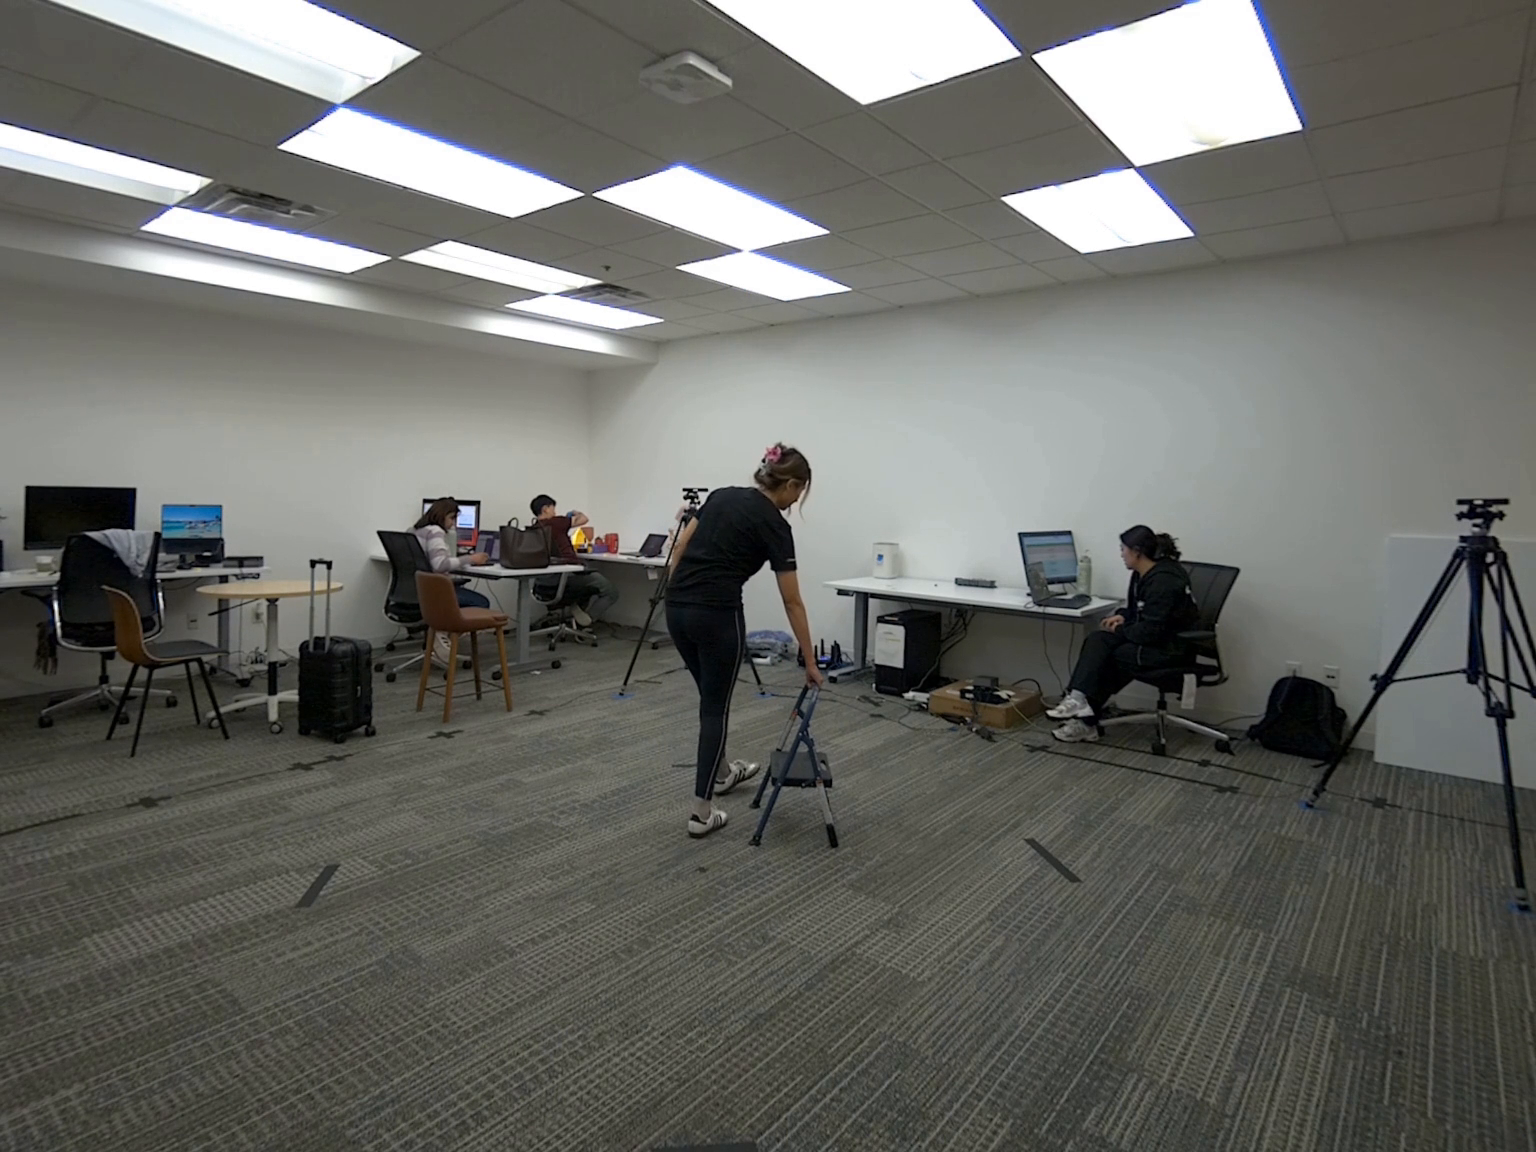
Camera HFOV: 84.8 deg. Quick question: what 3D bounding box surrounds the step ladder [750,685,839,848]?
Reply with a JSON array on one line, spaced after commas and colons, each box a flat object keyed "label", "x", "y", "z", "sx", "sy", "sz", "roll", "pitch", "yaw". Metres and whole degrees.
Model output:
[{"label": "step ladder", "x": 0.099, "y": 0.736, "z": 3.516, "sx": 0.350, "sy": 0.604, "sz": 0.431, "roll": 1, "pitch": 3, "yaw": 0}]
